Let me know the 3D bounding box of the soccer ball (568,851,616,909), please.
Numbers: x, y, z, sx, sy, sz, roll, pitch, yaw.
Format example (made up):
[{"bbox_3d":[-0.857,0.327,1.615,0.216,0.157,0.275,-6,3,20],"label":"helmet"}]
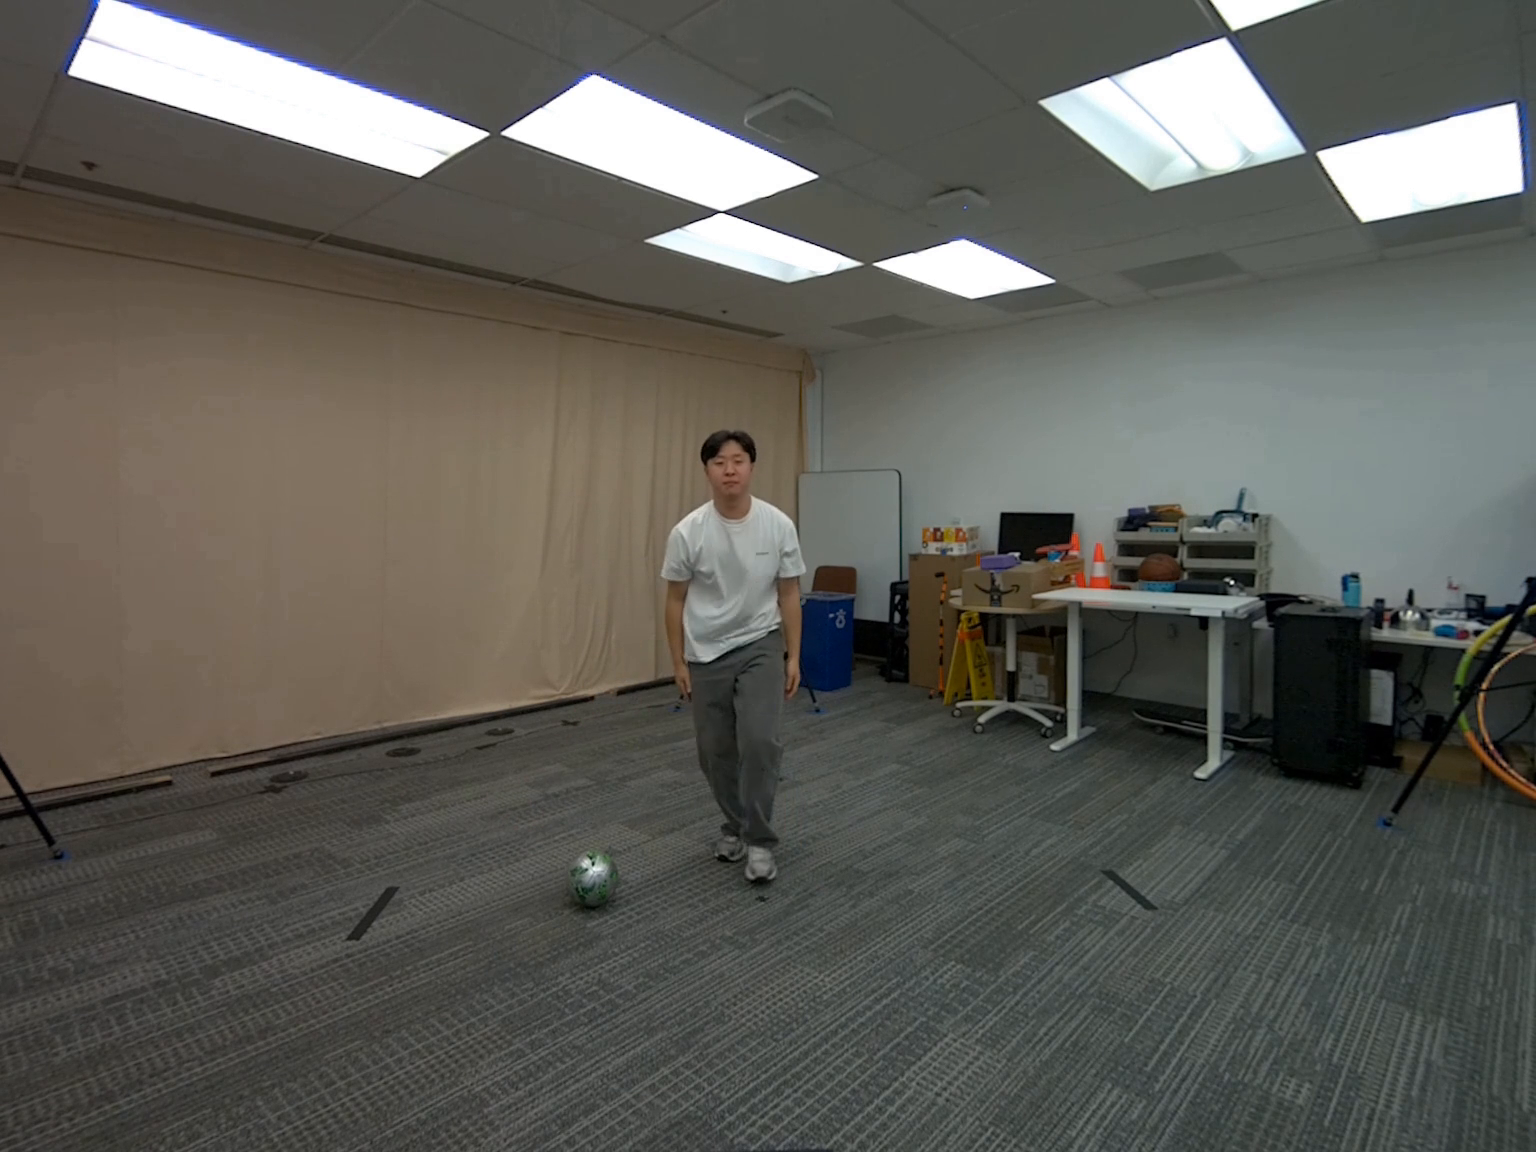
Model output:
[{"bbox_3d":[-0.607,1.066,2.949,0.187,0.187,0.188,0,4,-2],"label":"soccer ball"}]
